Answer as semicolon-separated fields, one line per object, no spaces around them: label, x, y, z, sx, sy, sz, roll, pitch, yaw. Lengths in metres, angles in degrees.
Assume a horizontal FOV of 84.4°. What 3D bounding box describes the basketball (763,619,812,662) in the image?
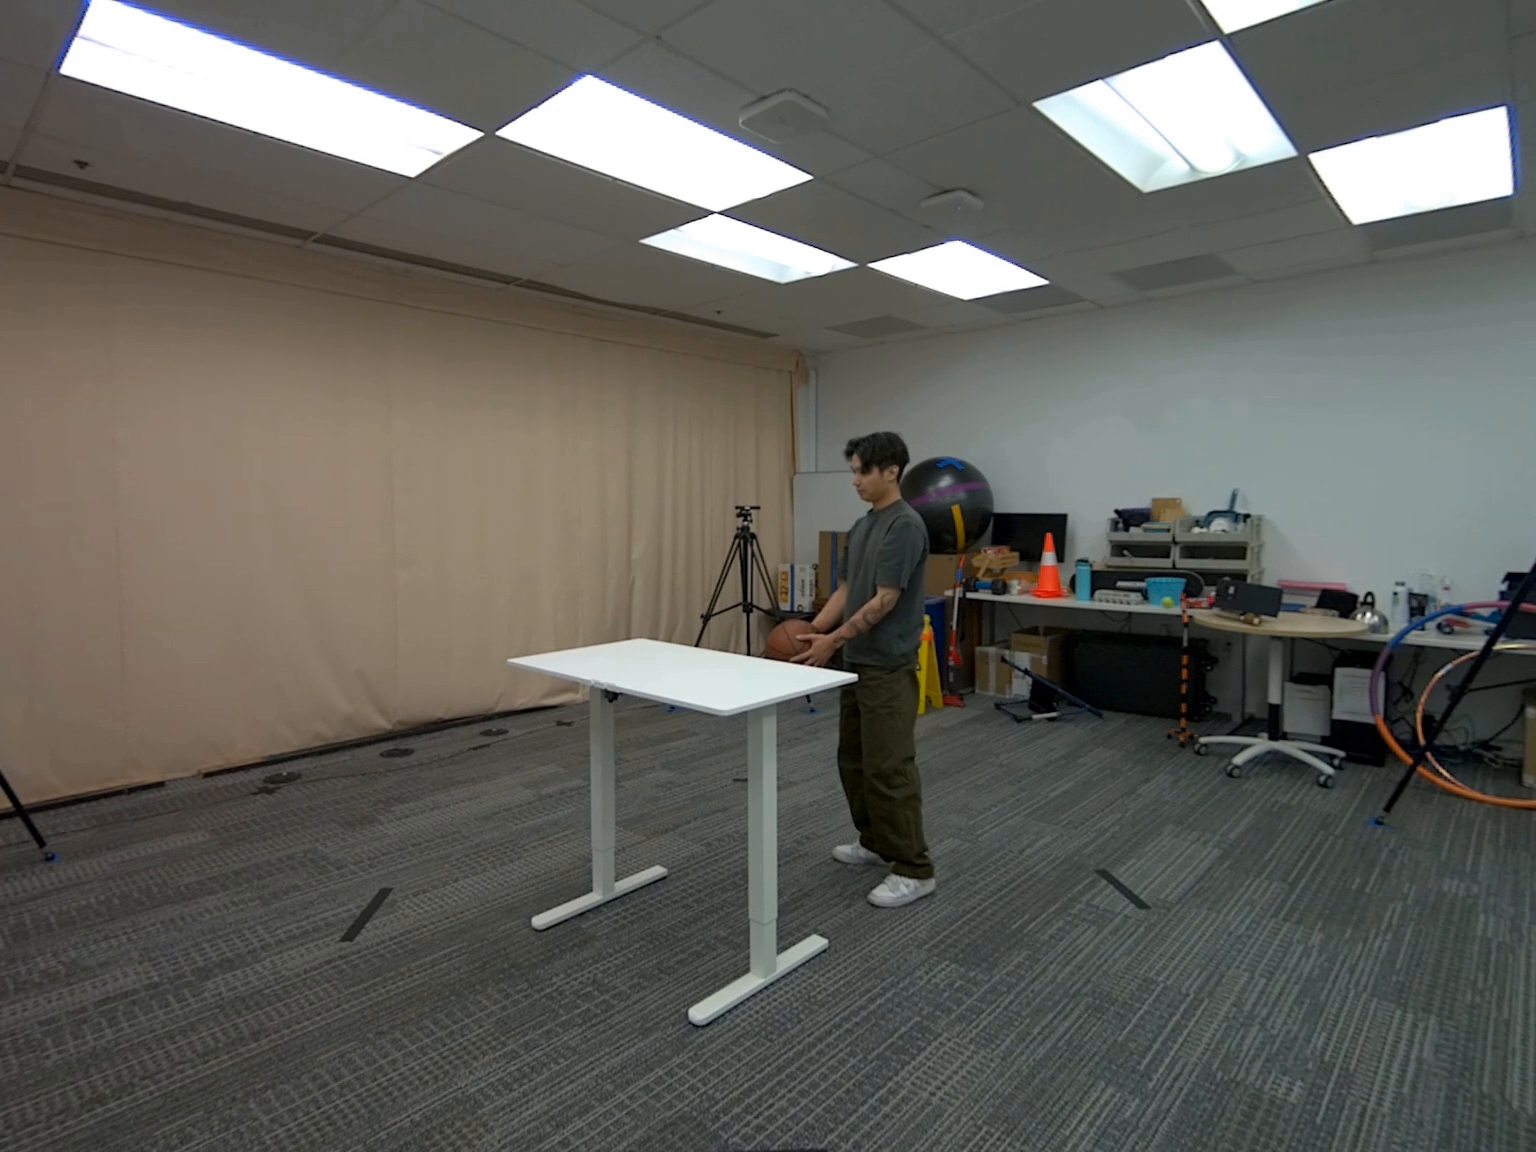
basketball;0.122;0.283;3.152;0.236;0.235;0.237;0;4;-2
